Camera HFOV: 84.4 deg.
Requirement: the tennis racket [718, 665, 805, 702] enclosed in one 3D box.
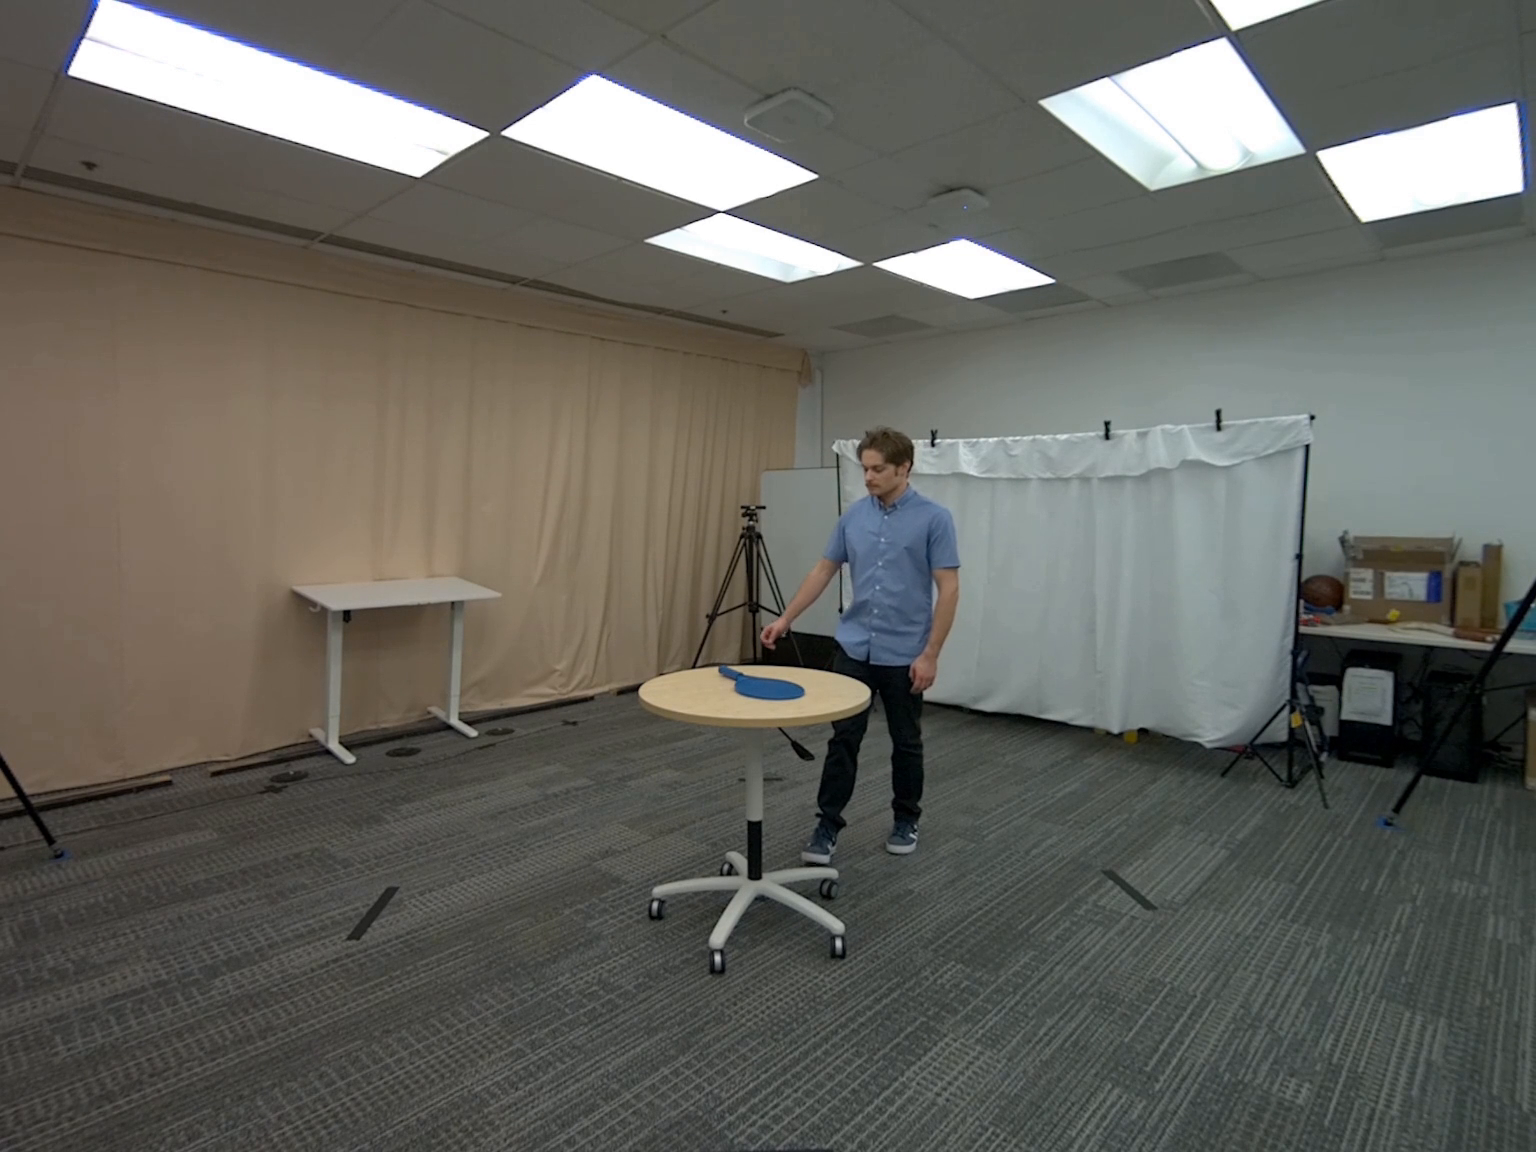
[{"bbox_3d":[-0.032,0.365,2.829,0.208,0.031,0.447,-5,8,-33],"label":"tennis racket"}]
